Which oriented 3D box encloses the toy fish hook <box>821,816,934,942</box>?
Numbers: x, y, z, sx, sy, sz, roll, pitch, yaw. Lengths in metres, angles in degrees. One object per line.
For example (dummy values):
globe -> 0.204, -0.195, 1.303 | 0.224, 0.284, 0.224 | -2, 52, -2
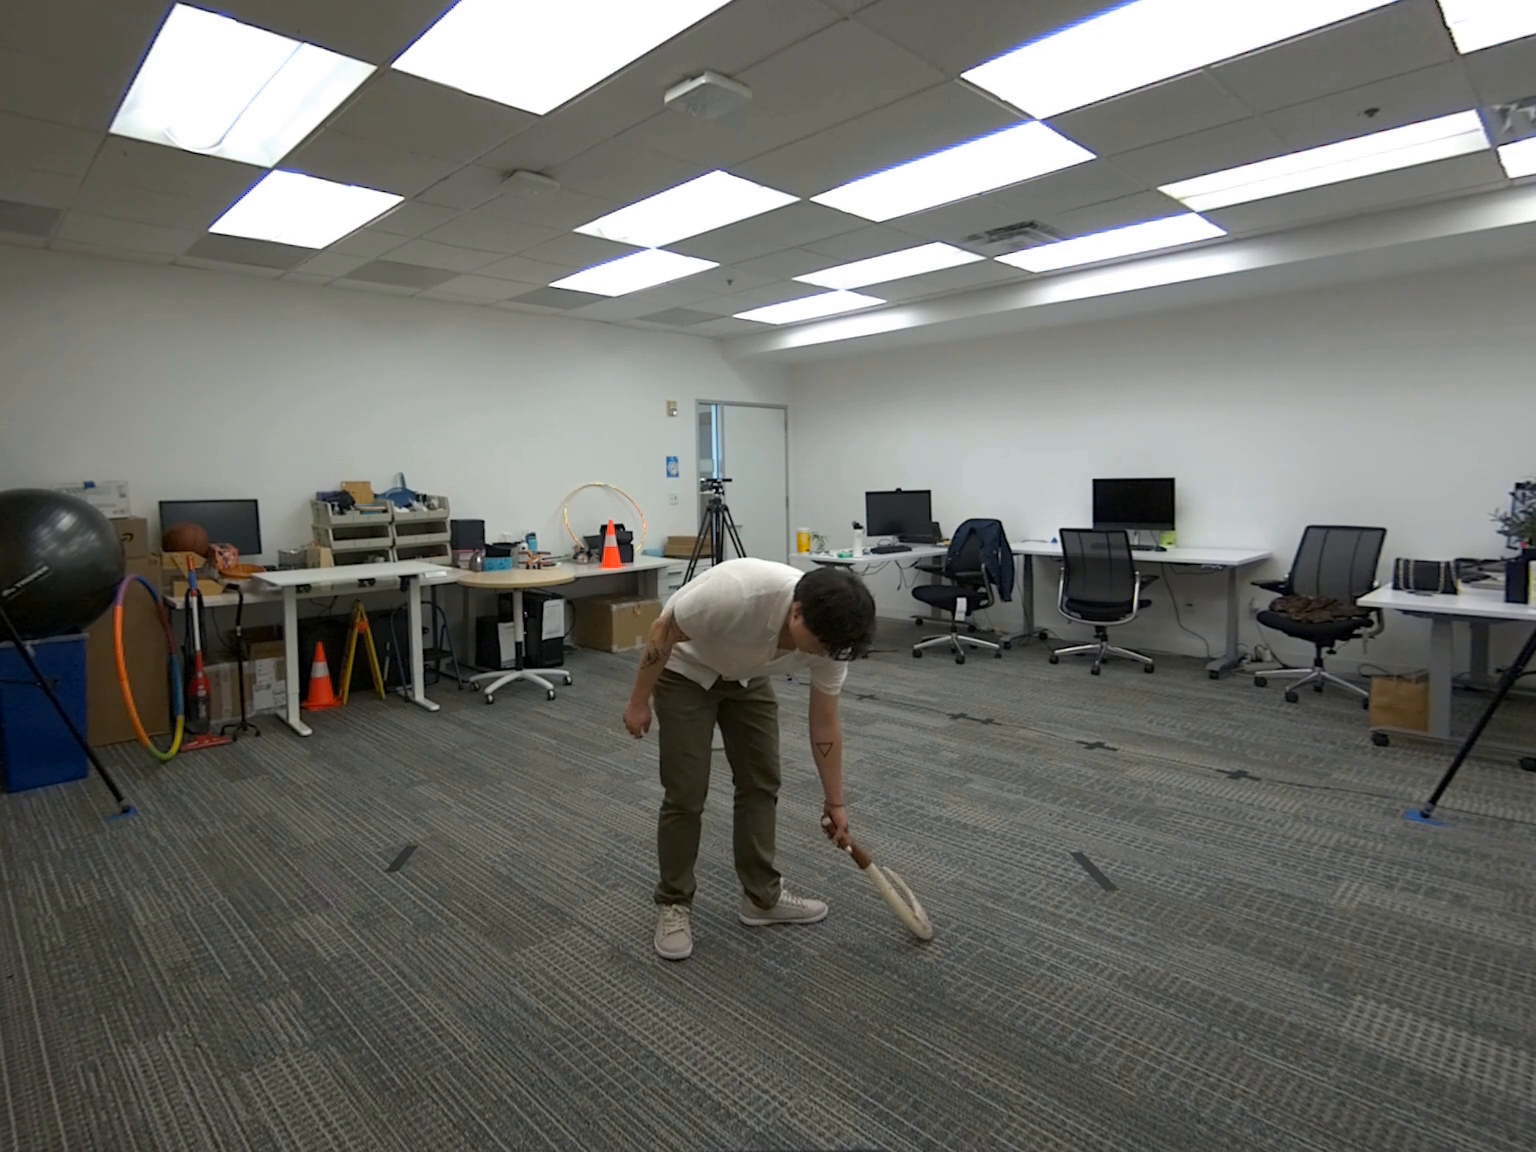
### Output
toy fish hook -> 0.326, 0.891, 2.618 | 0.048, 0.503, 0.226 | -41, 5, 6
